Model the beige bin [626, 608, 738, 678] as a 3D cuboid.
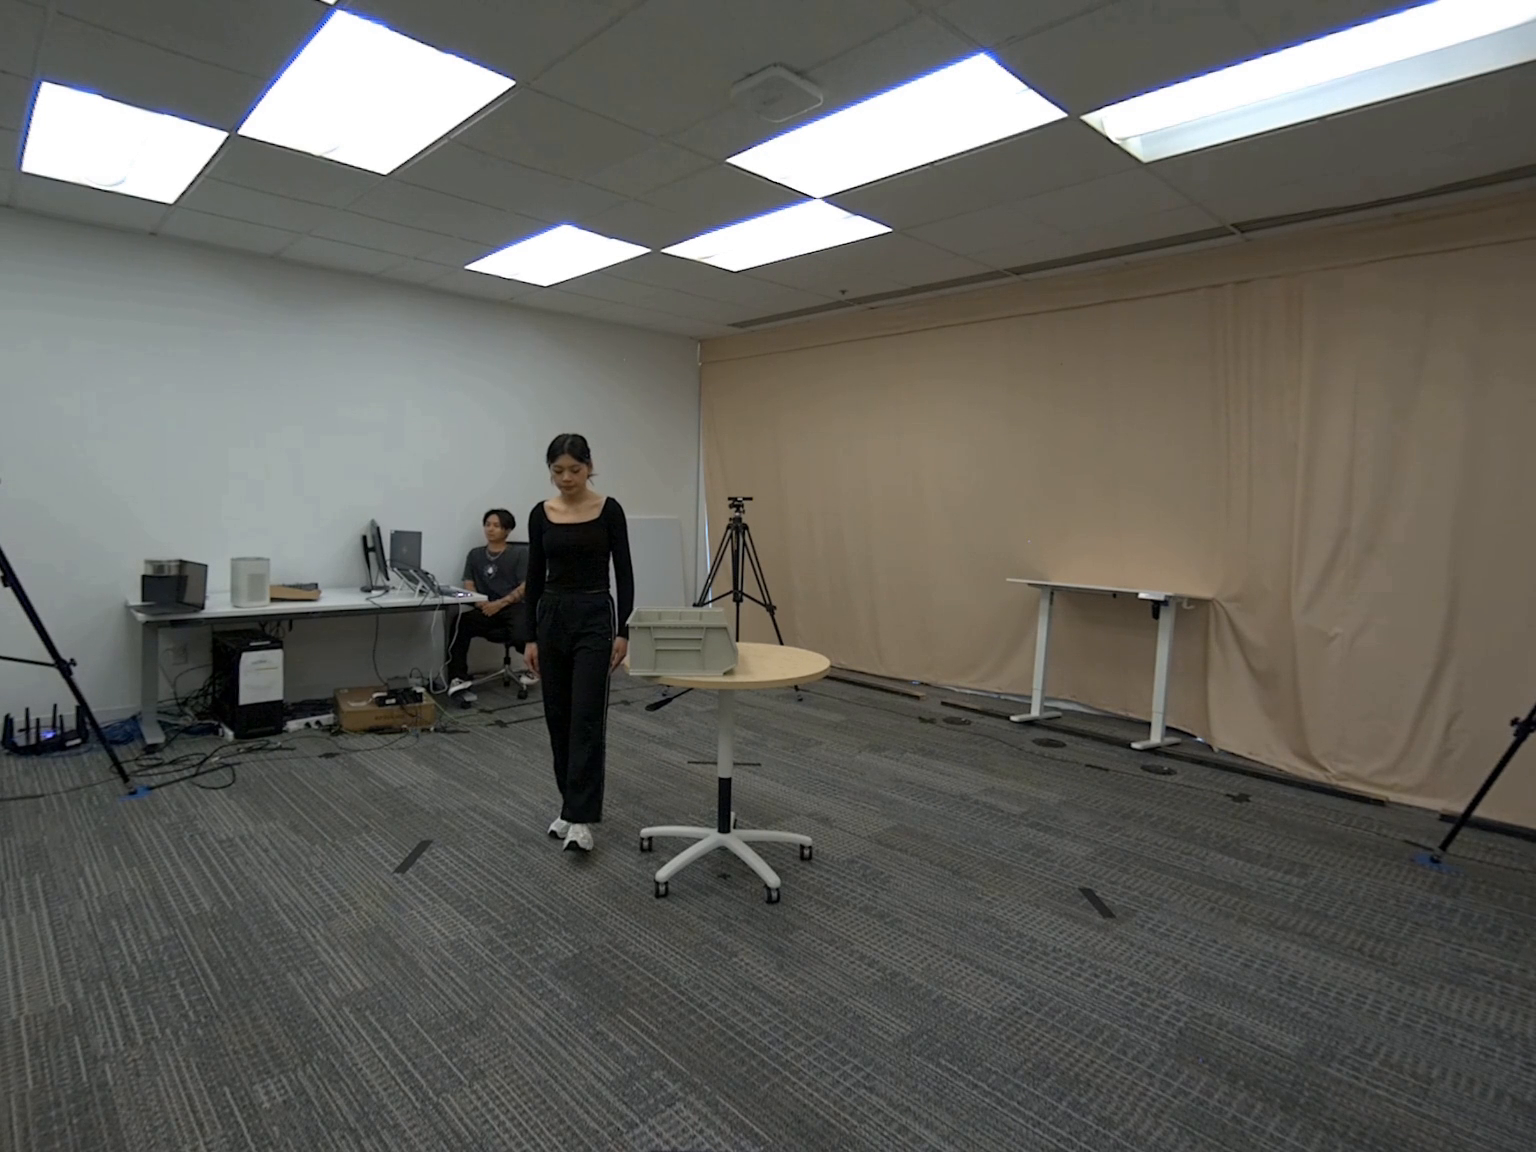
[{"bbox_3d":[-0.312,0.231,3.025,0.376,0.188,0.425,0,5,-4],"label":"beige bin"}]
